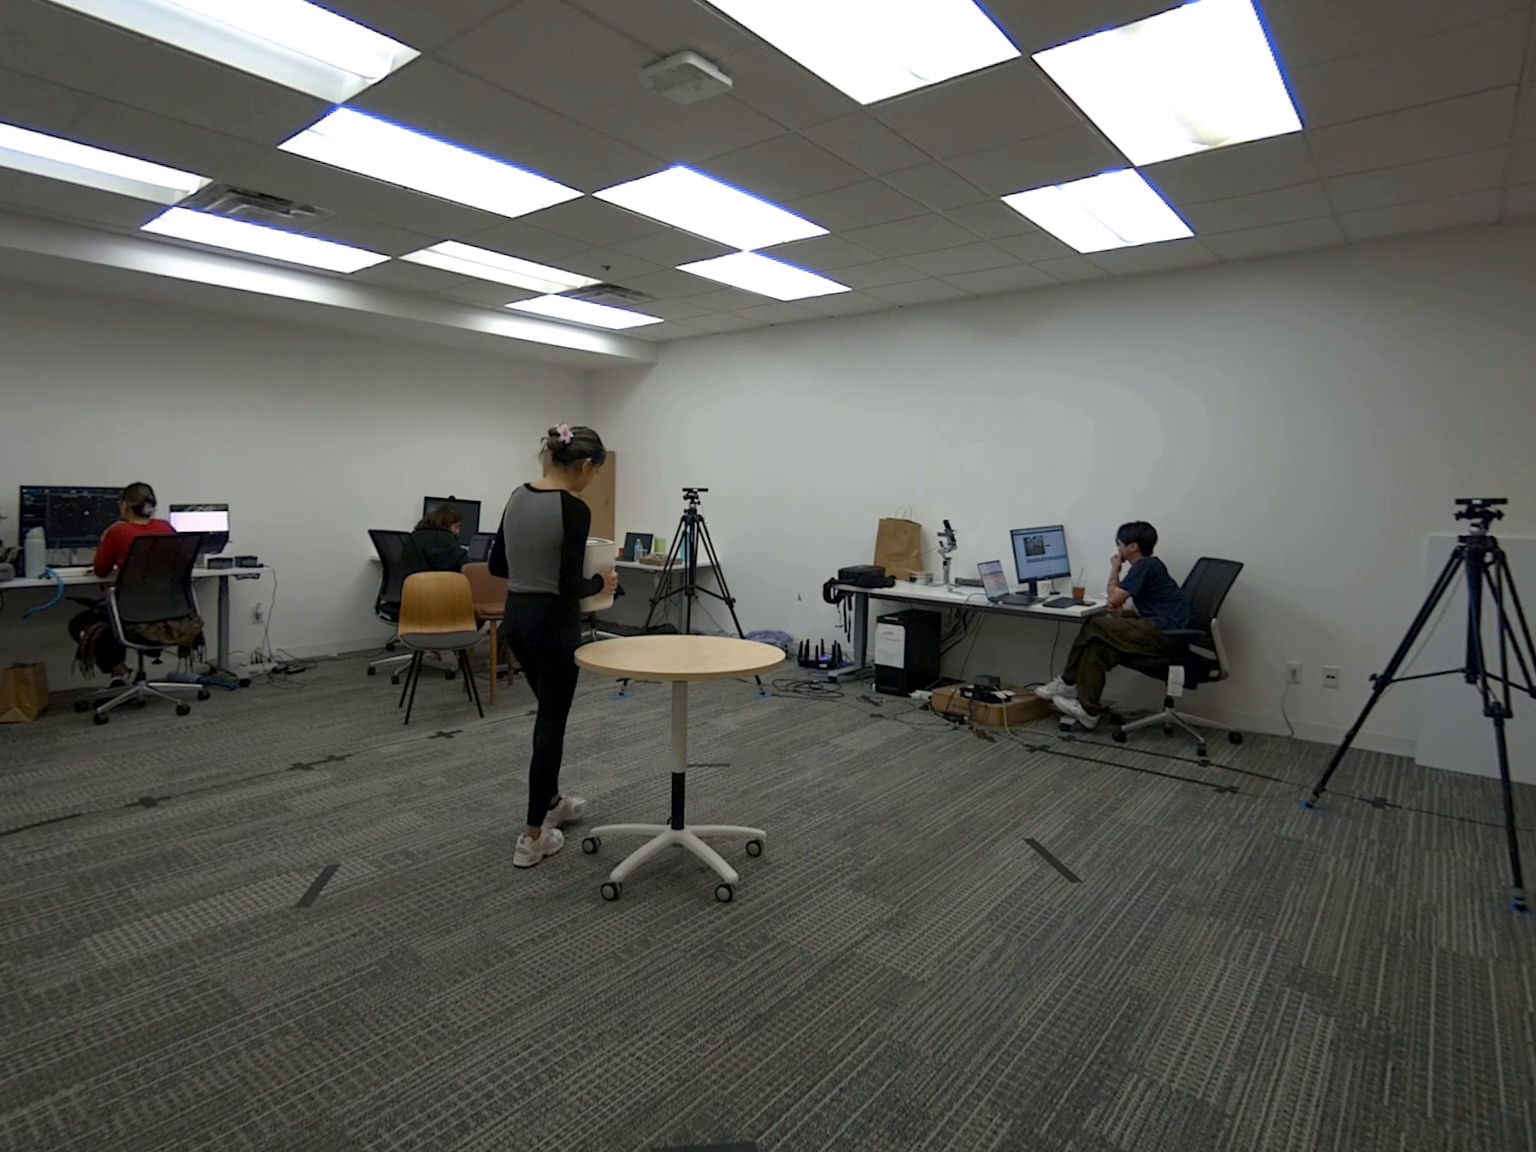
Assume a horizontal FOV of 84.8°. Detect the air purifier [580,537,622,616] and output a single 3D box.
[{"bbox_3d":[-0.712,-0.005,3.339,0.177,0.263,0.167,10,11,33],"label":"air purifier"}]
